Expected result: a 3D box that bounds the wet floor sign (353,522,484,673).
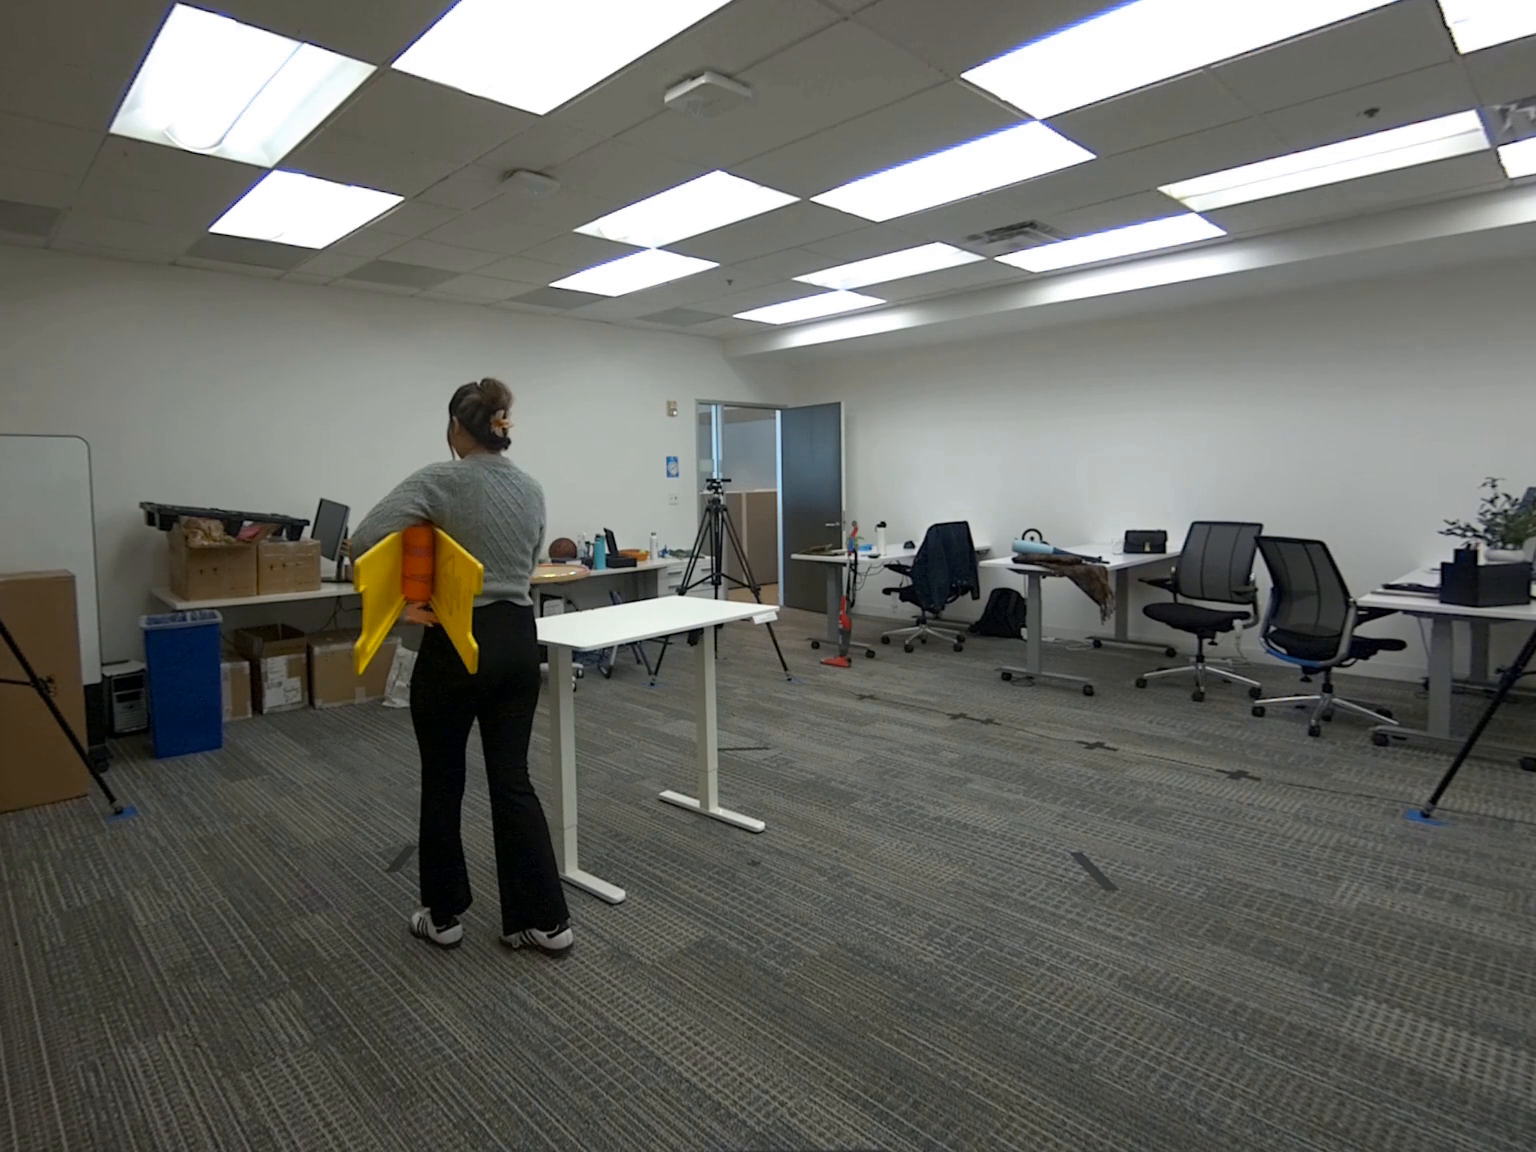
[{"bbox_3d":[-0.942,0.011,2.302,0.284,0.279,0.666,1,16,-22],"label":"wet floor sign"}]
